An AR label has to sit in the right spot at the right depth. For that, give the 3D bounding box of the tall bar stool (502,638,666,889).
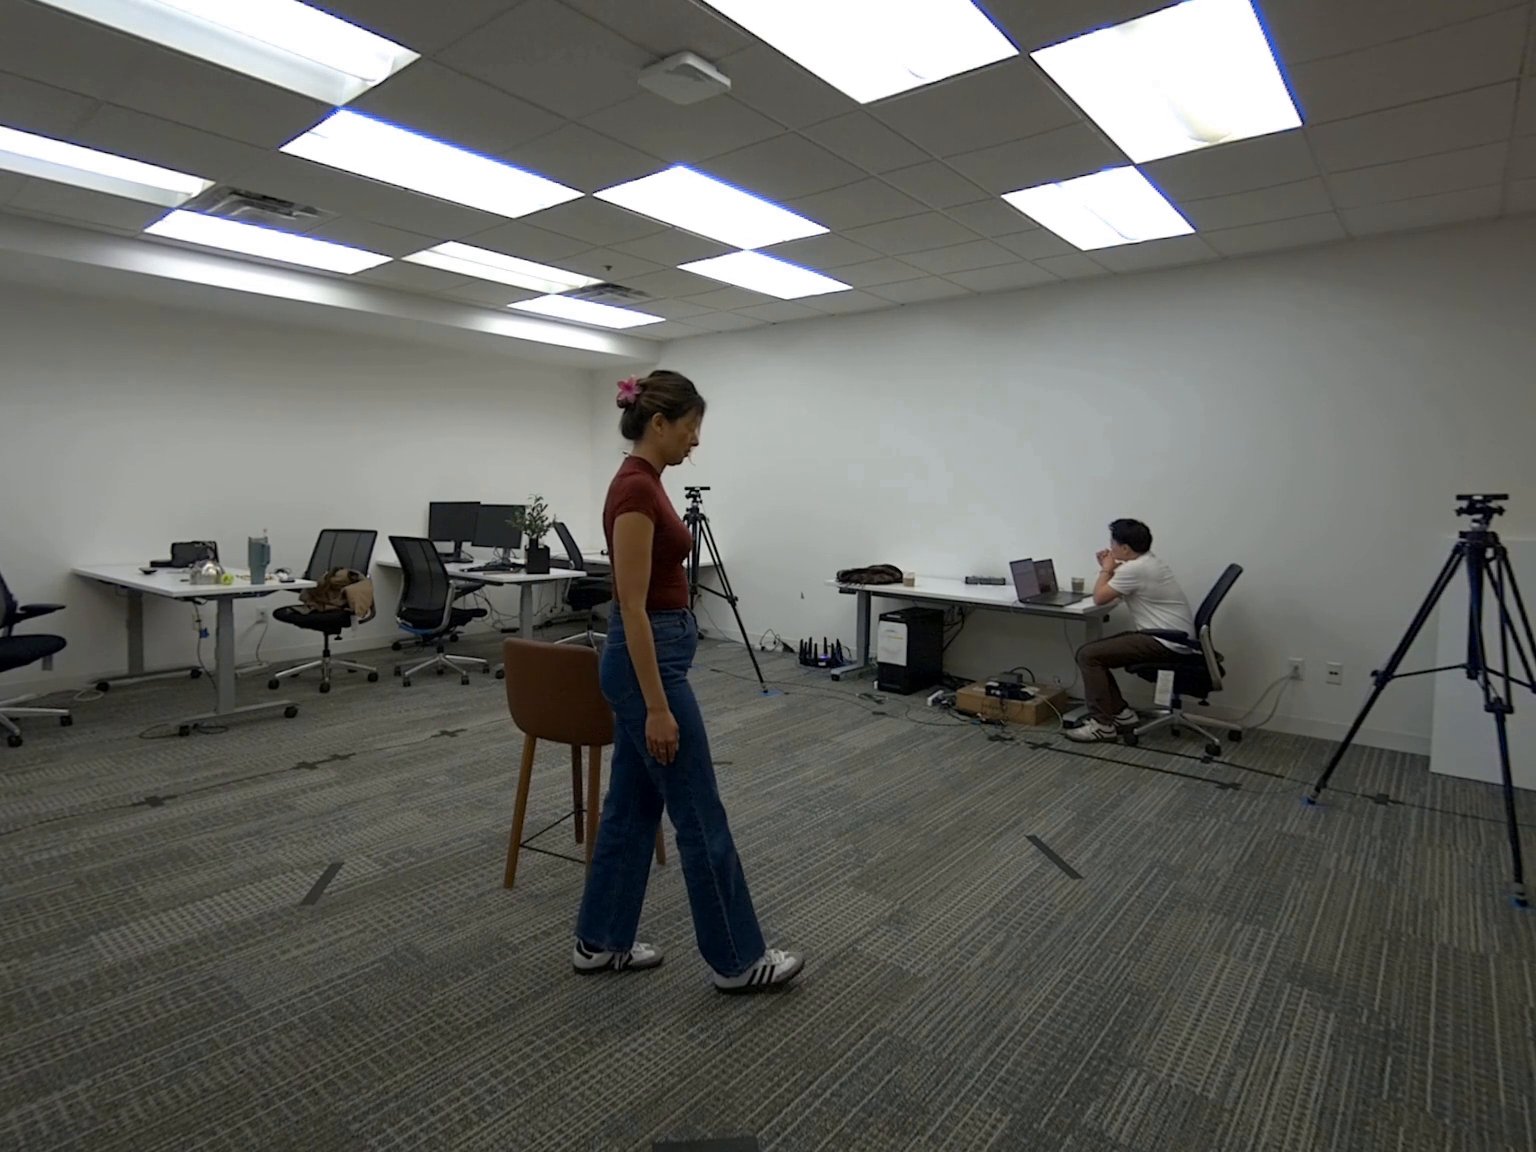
[{"bbox_3d":[-0.668,0.634,3.023,0.469,0.886,0.457,2,5,26],"label":"tall bar stool"}]
